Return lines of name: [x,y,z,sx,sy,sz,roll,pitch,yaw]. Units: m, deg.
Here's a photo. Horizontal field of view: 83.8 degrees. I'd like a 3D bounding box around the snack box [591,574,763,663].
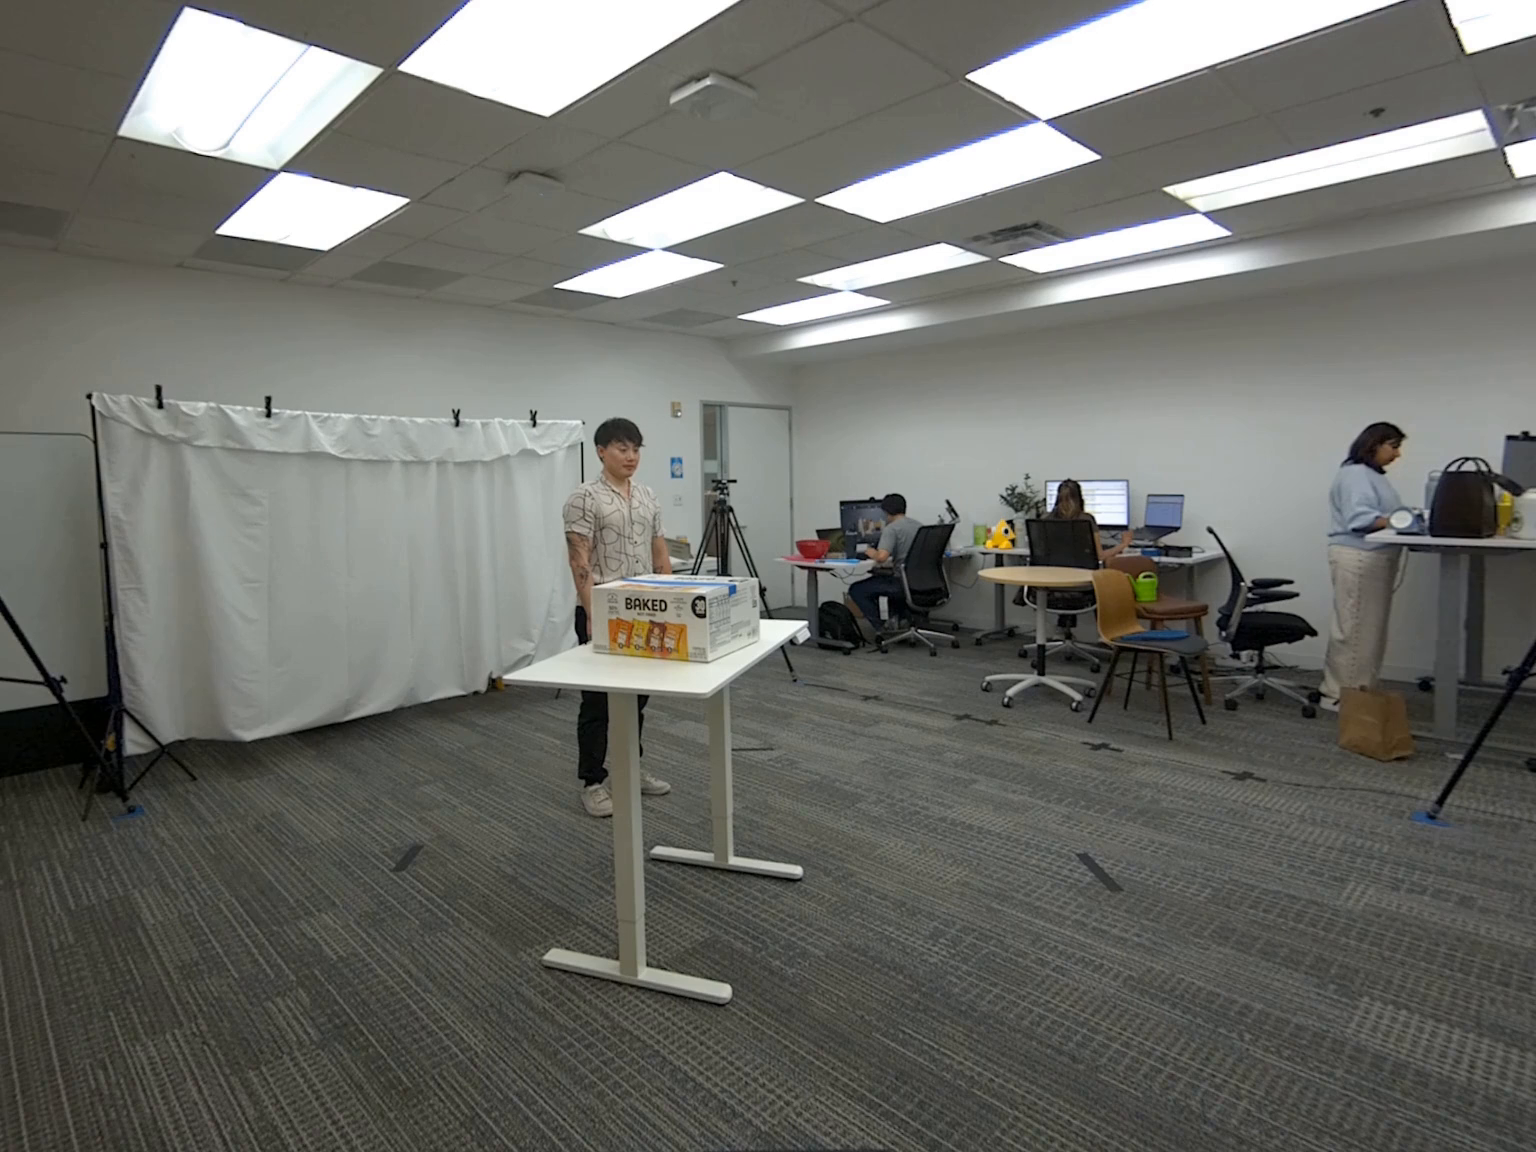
snack box: [-0.281,0.120,2.651,0.415,0.204,0.334,2,7,27]
